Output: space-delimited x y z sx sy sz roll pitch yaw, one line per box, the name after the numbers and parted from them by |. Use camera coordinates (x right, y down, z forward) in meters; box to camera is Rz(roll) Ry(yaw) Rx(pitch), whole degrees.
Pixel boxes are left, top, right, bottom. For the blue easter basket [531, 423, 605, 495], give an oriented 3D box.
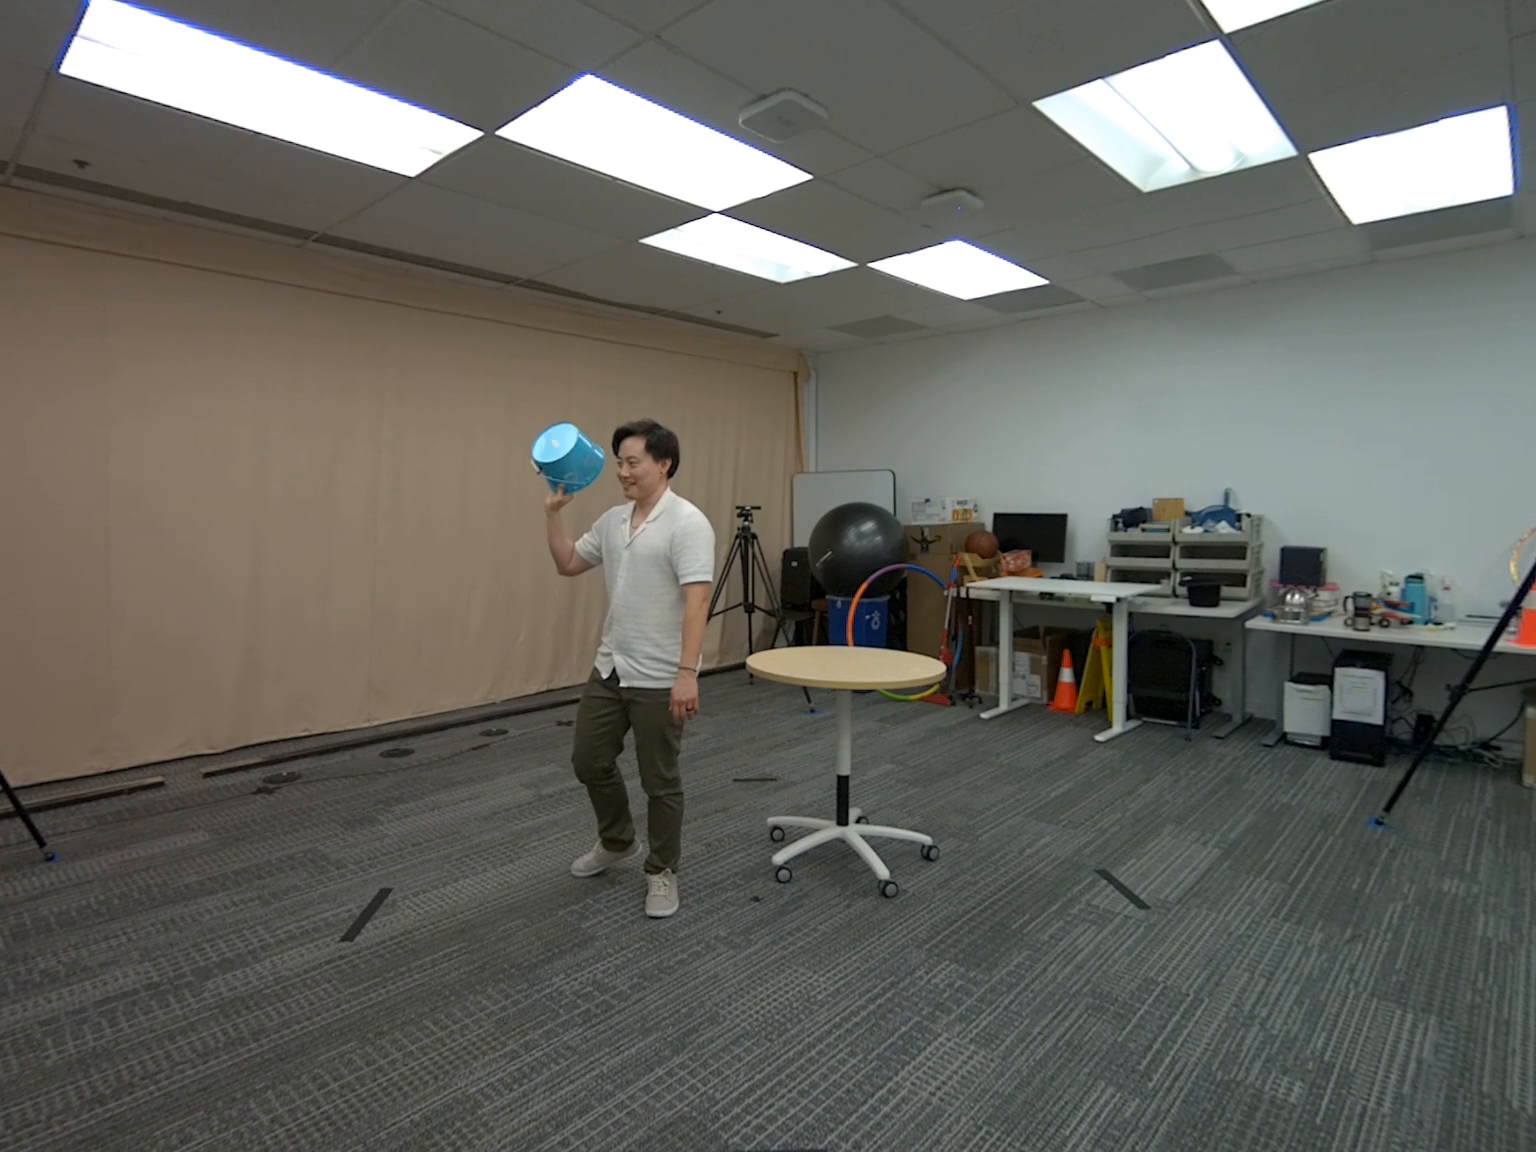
-0.706 -0.416 2.971 0.250 0.245 0.151 1 -31 24 | blue easter basket
